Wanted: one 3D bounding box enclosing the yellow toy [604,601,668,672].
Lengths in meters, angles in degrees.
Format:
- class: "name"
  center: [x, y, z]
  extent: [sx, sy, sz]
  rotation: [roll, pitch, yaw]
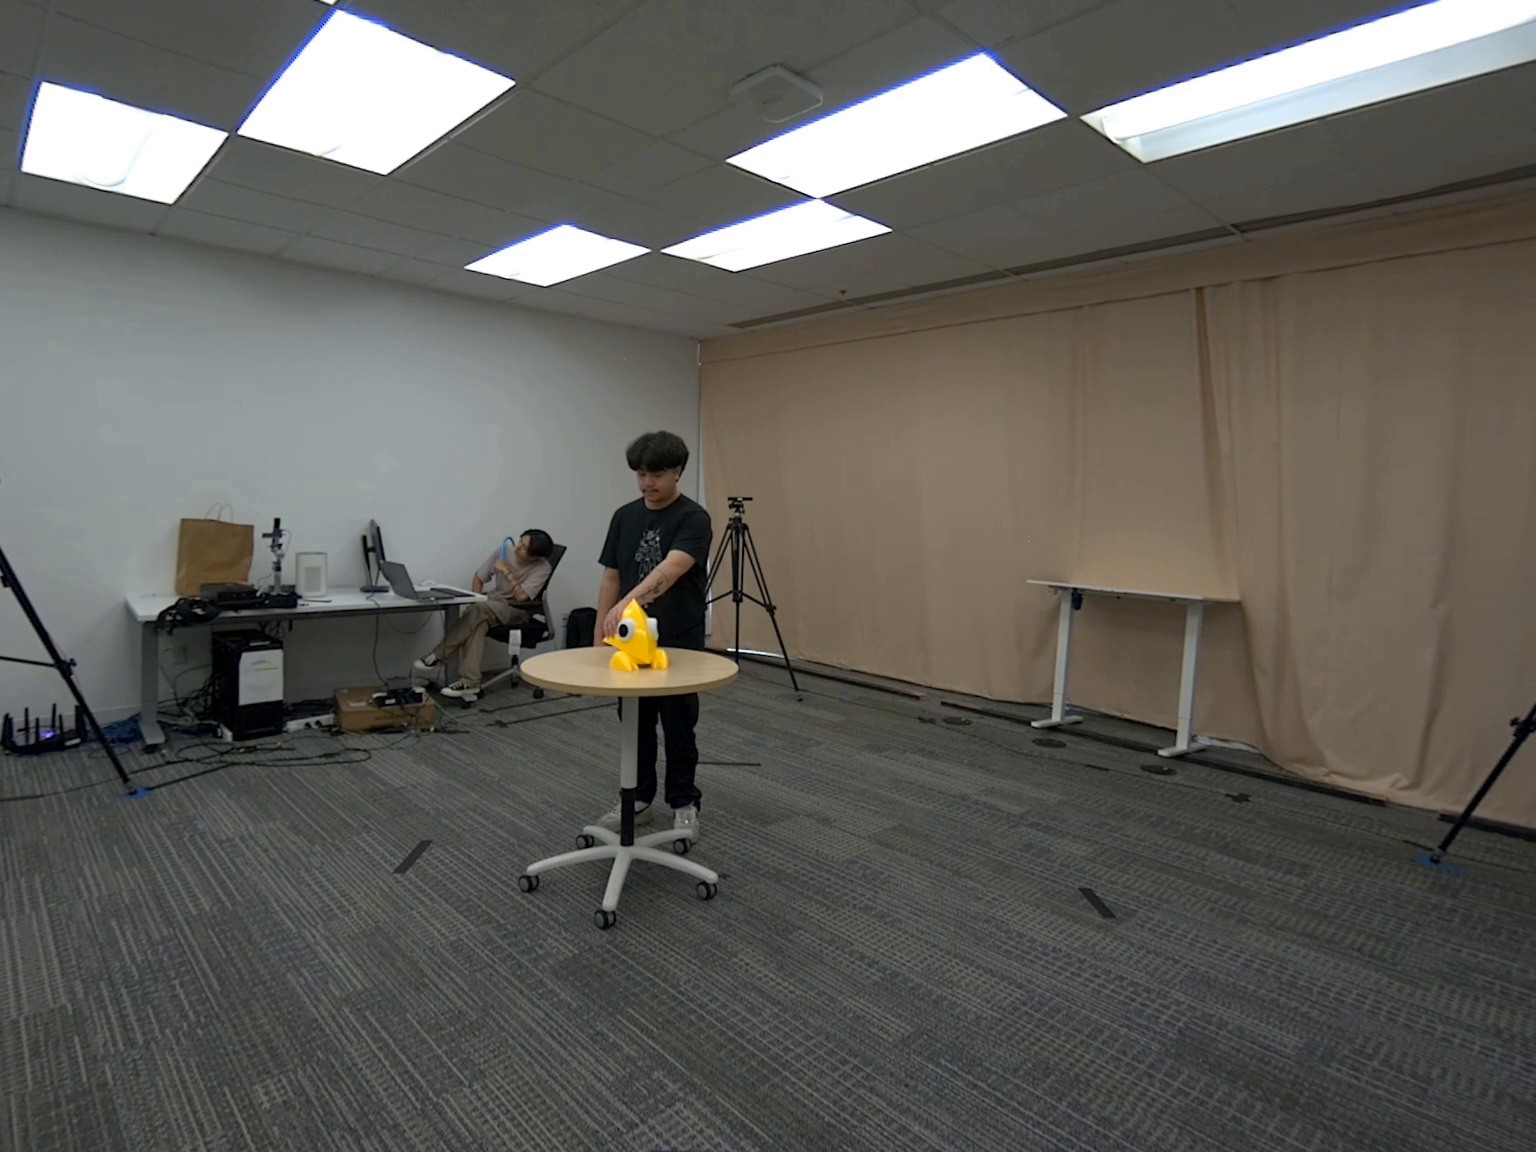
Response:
- class: "yellow toy"
  center: [-0.471, 0.206, 2.982]
  extent: [0.201, 0.230, 0.197]
  rotation: [-1, 4, -28]
